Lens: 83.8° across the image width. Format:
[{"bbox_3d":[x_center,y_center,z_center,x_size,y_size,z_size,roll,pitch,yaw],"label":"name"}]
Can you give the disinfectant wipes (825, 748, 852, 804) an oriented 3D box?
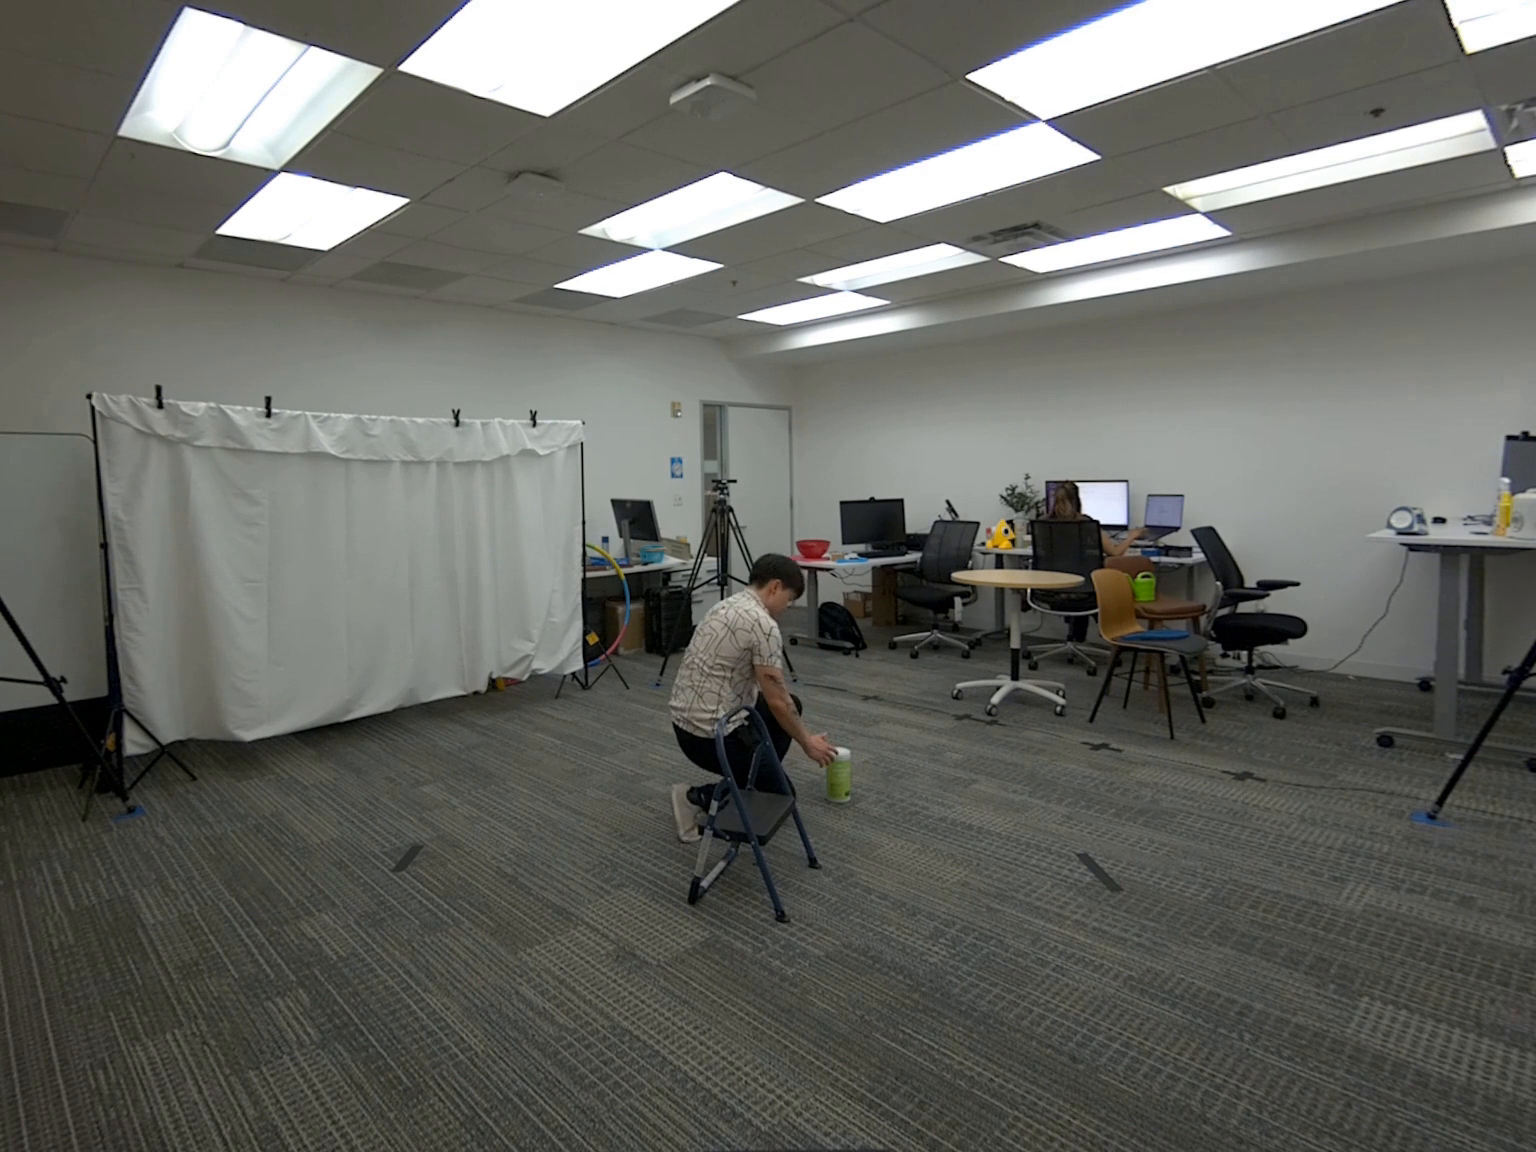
[{"bbox_3d":[0.302,0.856,3.713,0.118,0.217,0.118,0,4,-2],"label":"disinfectant wipes"}]
